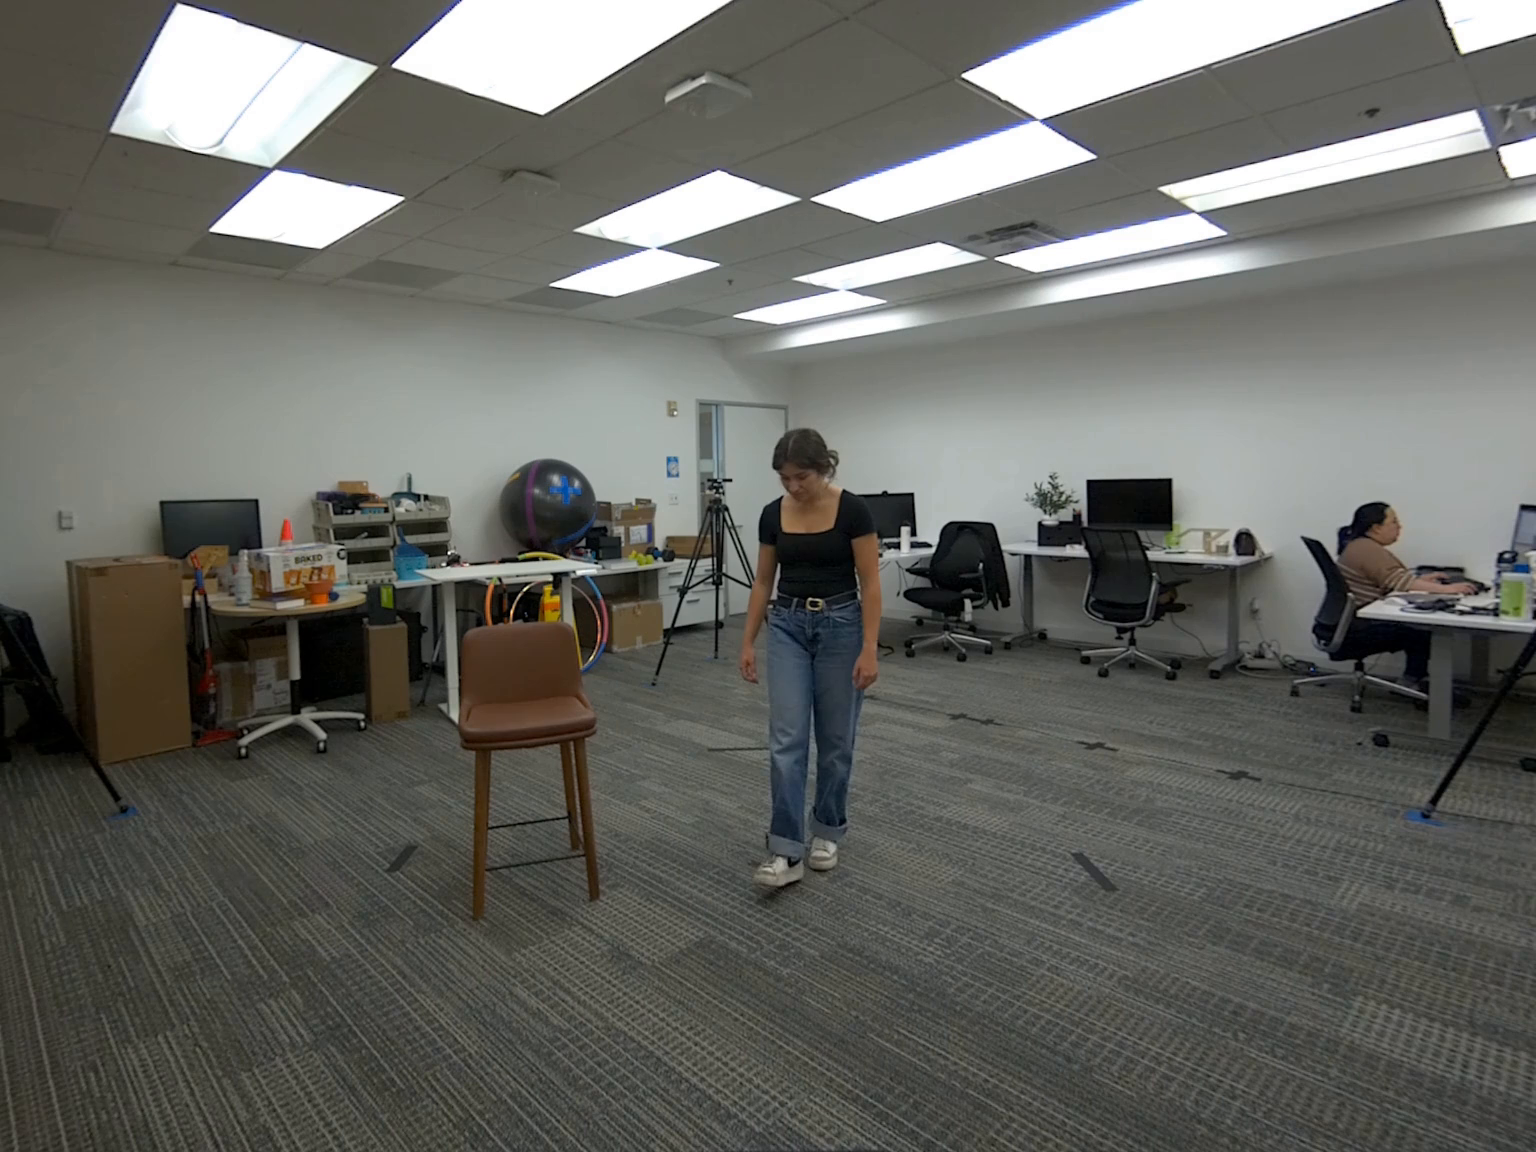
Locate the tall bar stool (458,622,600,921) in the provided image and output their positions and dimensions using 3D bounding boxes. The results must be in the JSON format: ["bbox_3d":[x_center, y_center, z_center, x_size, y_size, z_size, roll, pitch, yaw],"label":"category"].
[{"bbox_3d":[-0.839,0.637,2.986,0.449,0.888,0.476,-2,2,-18],"label":"tall bar stool"}]
